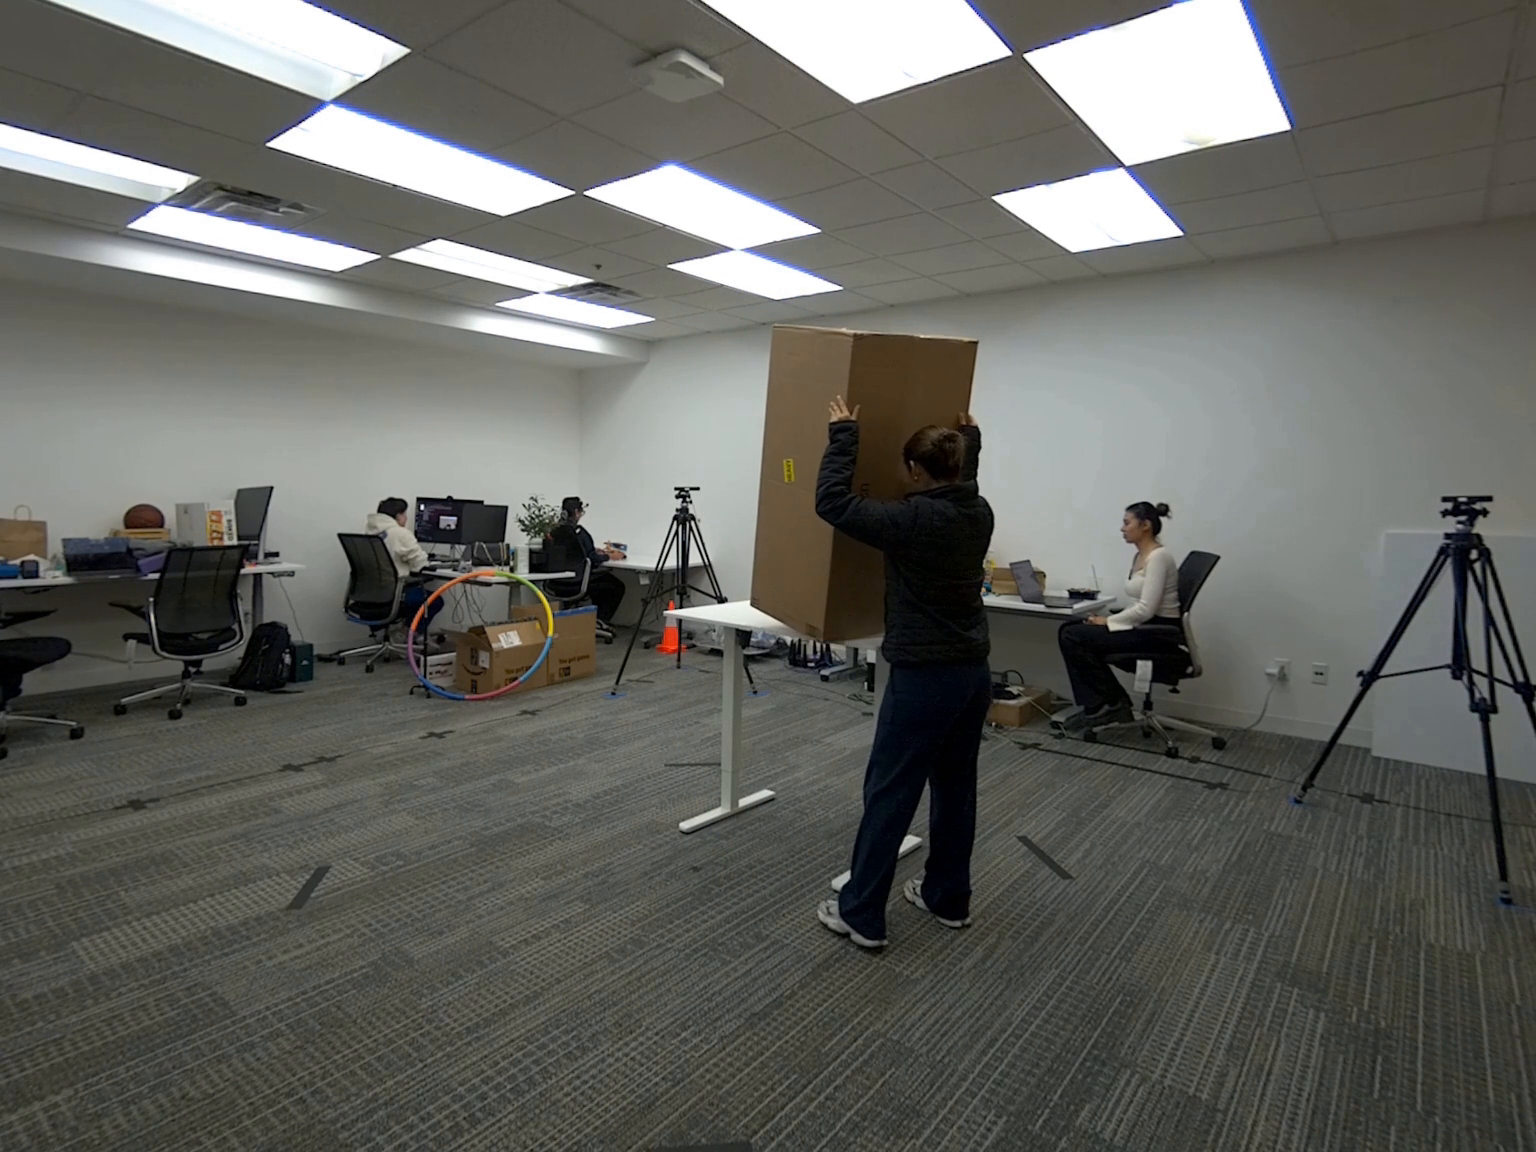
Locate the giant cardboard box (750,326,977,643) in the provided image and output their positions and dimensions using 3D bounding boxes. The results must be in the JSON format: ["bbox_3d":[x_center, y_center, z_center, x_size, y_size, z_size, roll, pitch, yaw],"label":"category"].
[{"bbox_3d":[0.331,-0.347,3.029,0.569,1.014,0.464,-5,17,-32],"label":"giant cardboard box"}]
